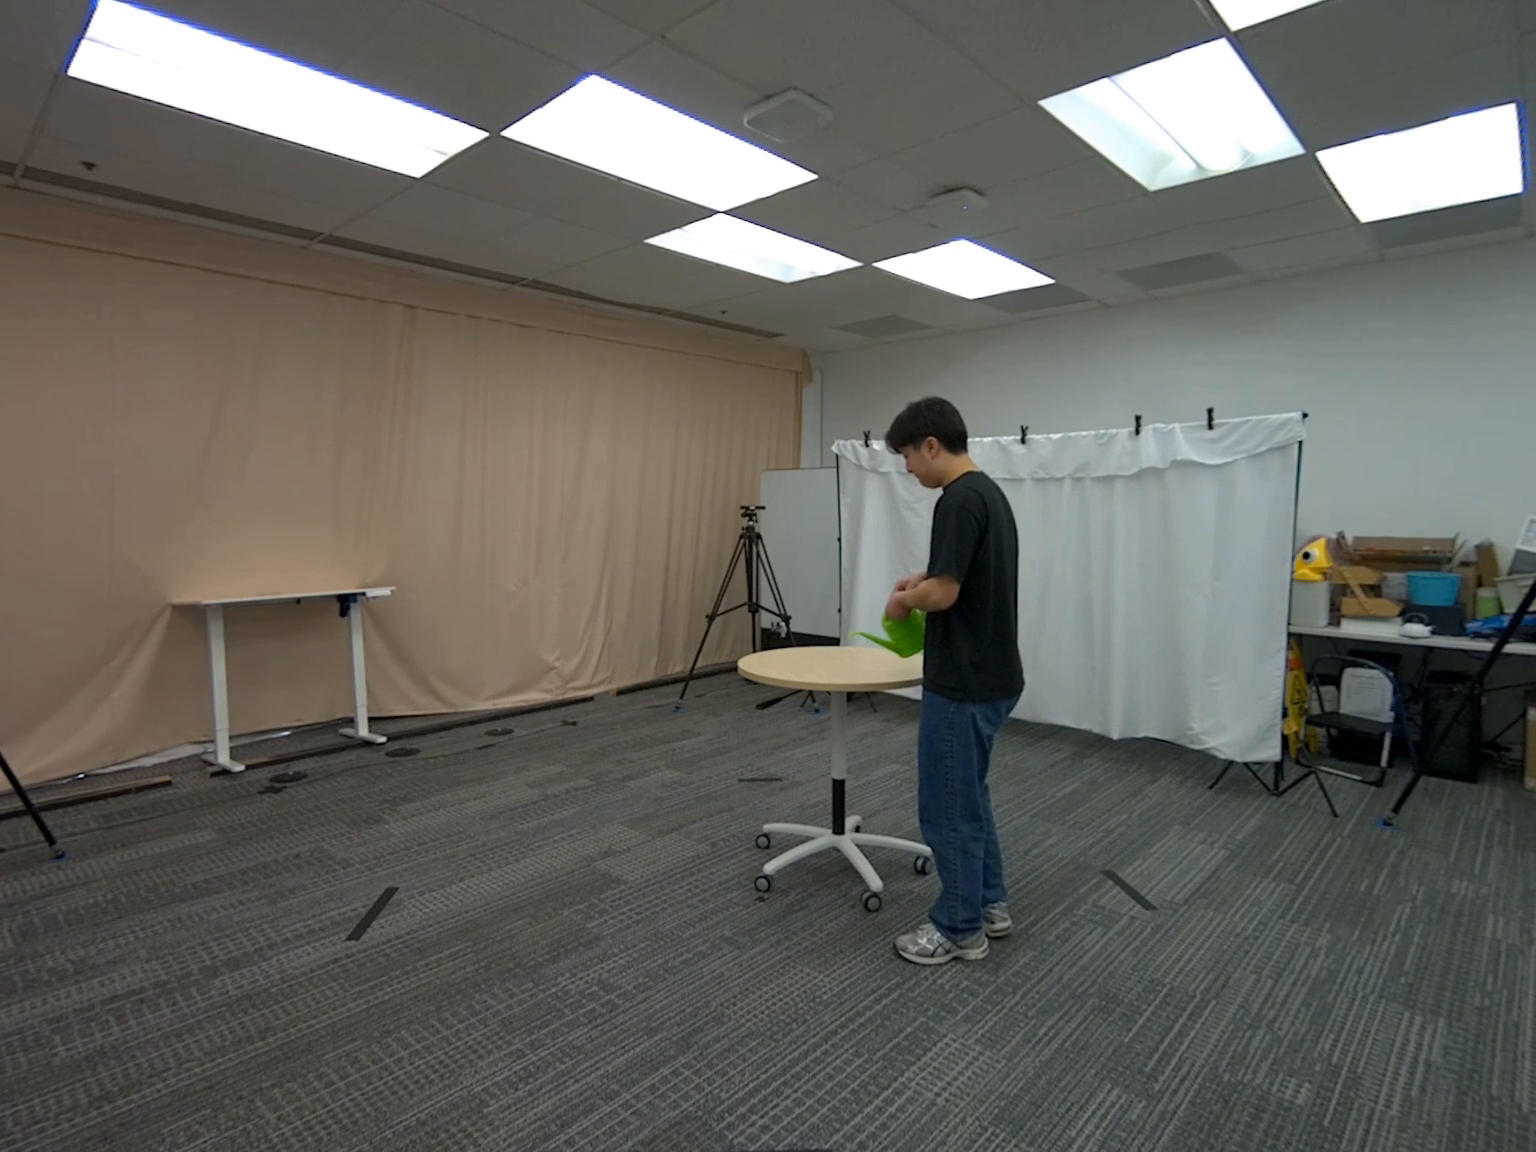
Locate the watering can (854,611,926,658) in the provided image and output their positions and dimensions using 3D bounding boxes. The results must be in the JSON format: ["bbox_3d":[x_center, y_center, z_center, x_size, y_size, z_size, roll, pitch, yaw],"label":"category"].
[{"bbox_3d":[0.422,0.185,2.812,0.281,0.176,0.097,-28,4,14],"label":"watering can"}]
